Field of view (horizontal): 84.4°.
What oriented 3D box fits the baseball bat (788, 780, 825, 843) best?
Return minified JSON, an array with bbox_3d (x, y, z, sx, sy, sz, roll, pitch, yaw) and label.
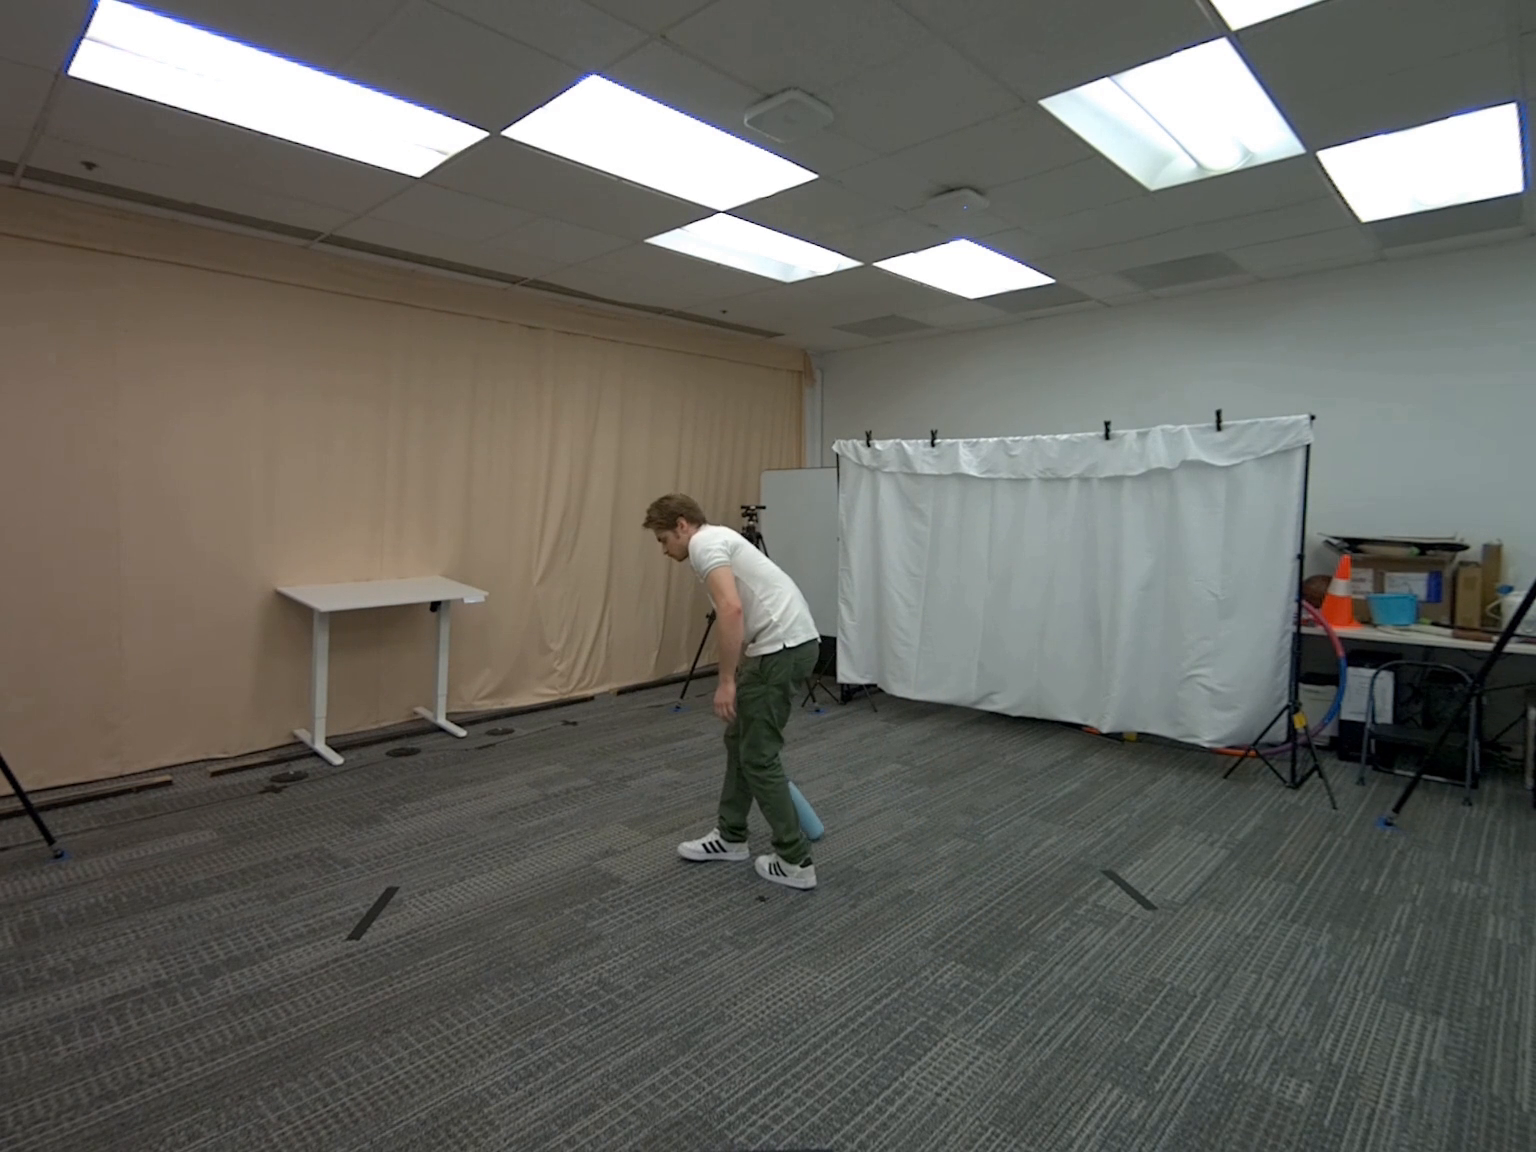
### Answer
[{"bbox_3d":[0.060,0.865,3.524,0.089,0.545,0.089,-35,-4,-3],"label":"baseball bat"}]
